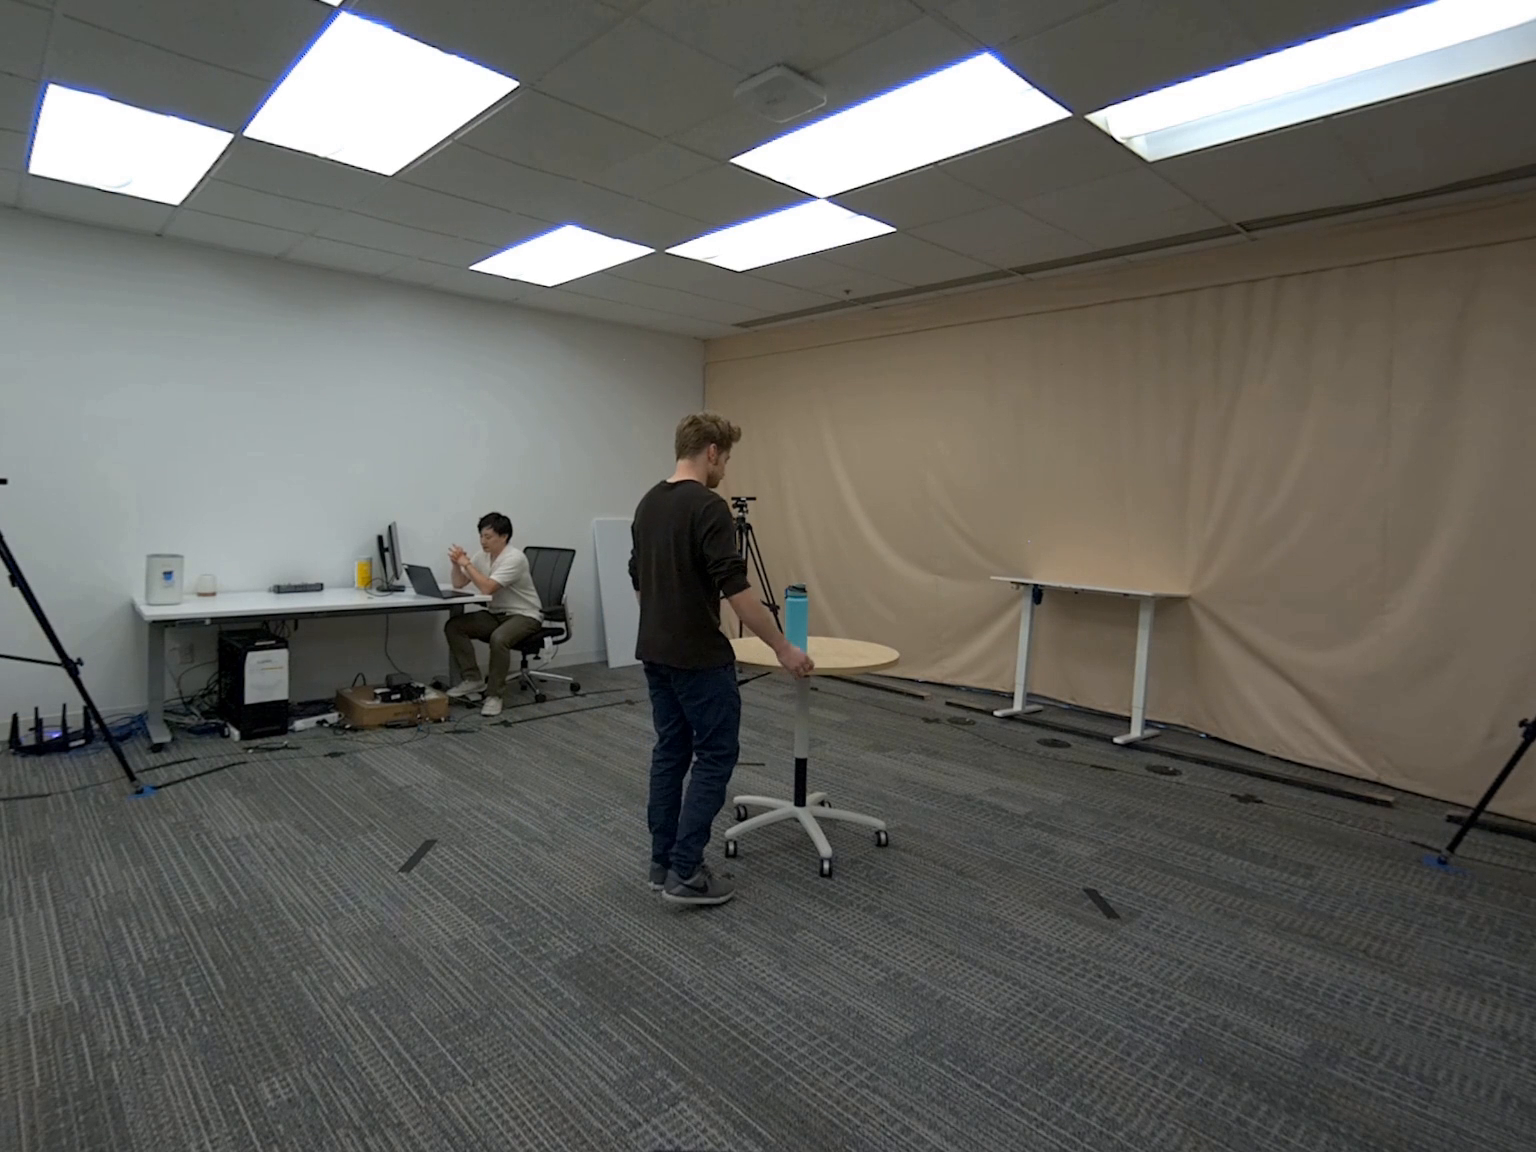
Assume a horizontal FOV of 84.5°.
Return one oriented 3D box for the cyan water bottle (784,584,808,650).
[{"bbox_3d":[0.105,0.172,3.328,0.092,0.283,0.092,1,2,-1],"label":"cyan water bottle"}]
